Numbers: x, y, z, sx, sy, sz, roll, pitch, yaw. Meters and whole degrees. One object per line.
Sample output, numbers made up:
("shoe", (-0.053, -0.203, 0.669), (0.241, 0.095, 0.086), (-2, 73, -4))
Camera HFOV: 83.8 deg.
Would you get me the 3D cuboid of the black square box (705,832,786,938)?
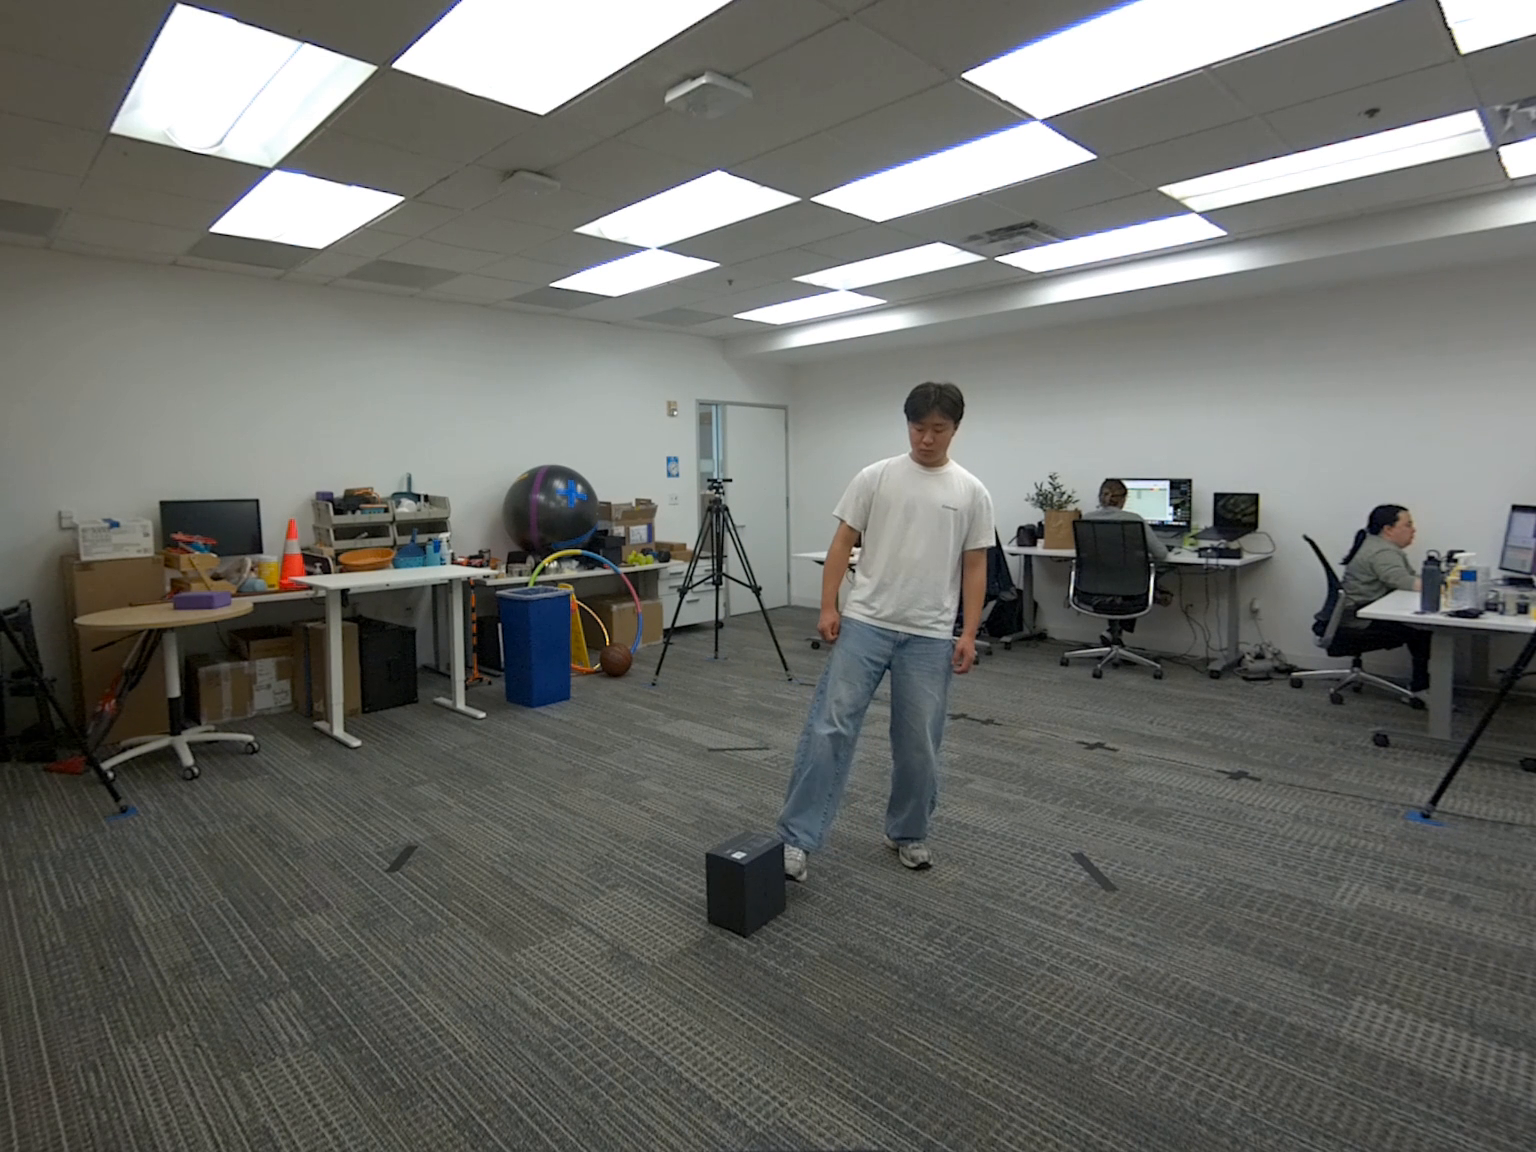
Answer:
("black square box", (-0.053, 0.969, 2.728), (0.160, 0.227, 0.211), (1, 5, 38))
